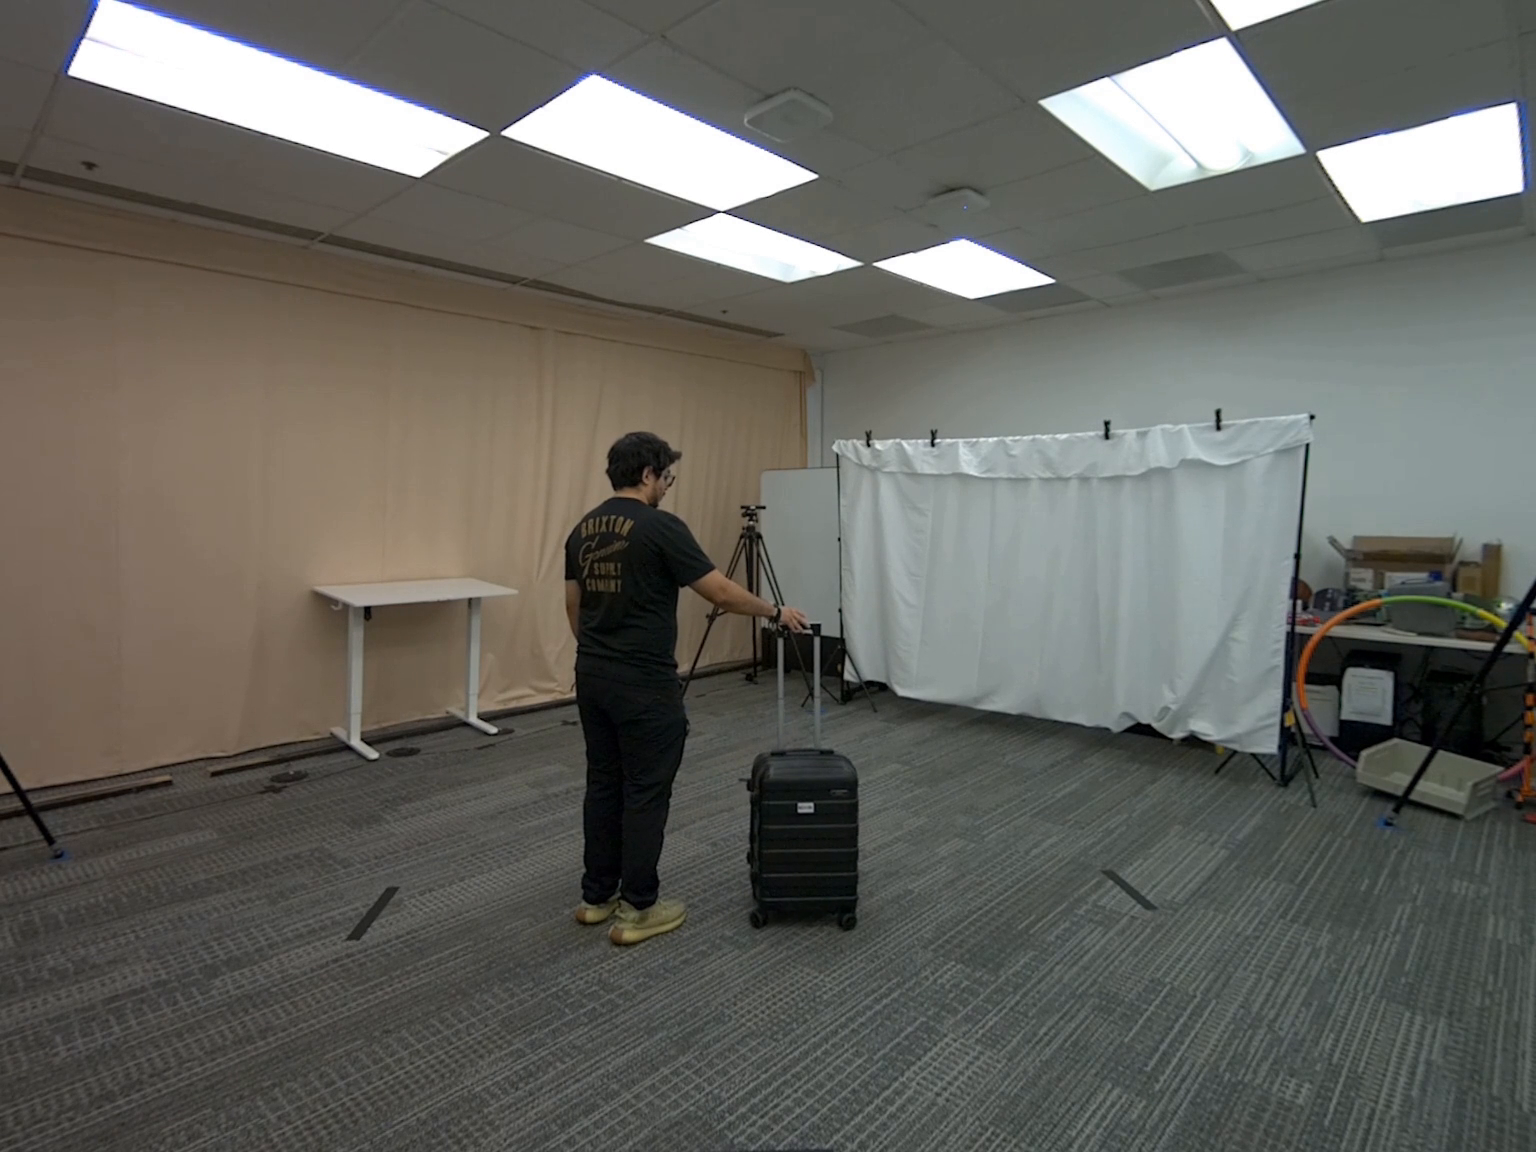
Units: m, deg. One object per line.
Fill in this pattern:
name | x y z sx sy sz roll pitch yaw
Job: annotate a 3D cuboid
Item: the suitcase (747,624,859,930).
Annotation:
suitcase | 0.128 0.682 2.859 0.383 0.976 0.258 0 3 -2
